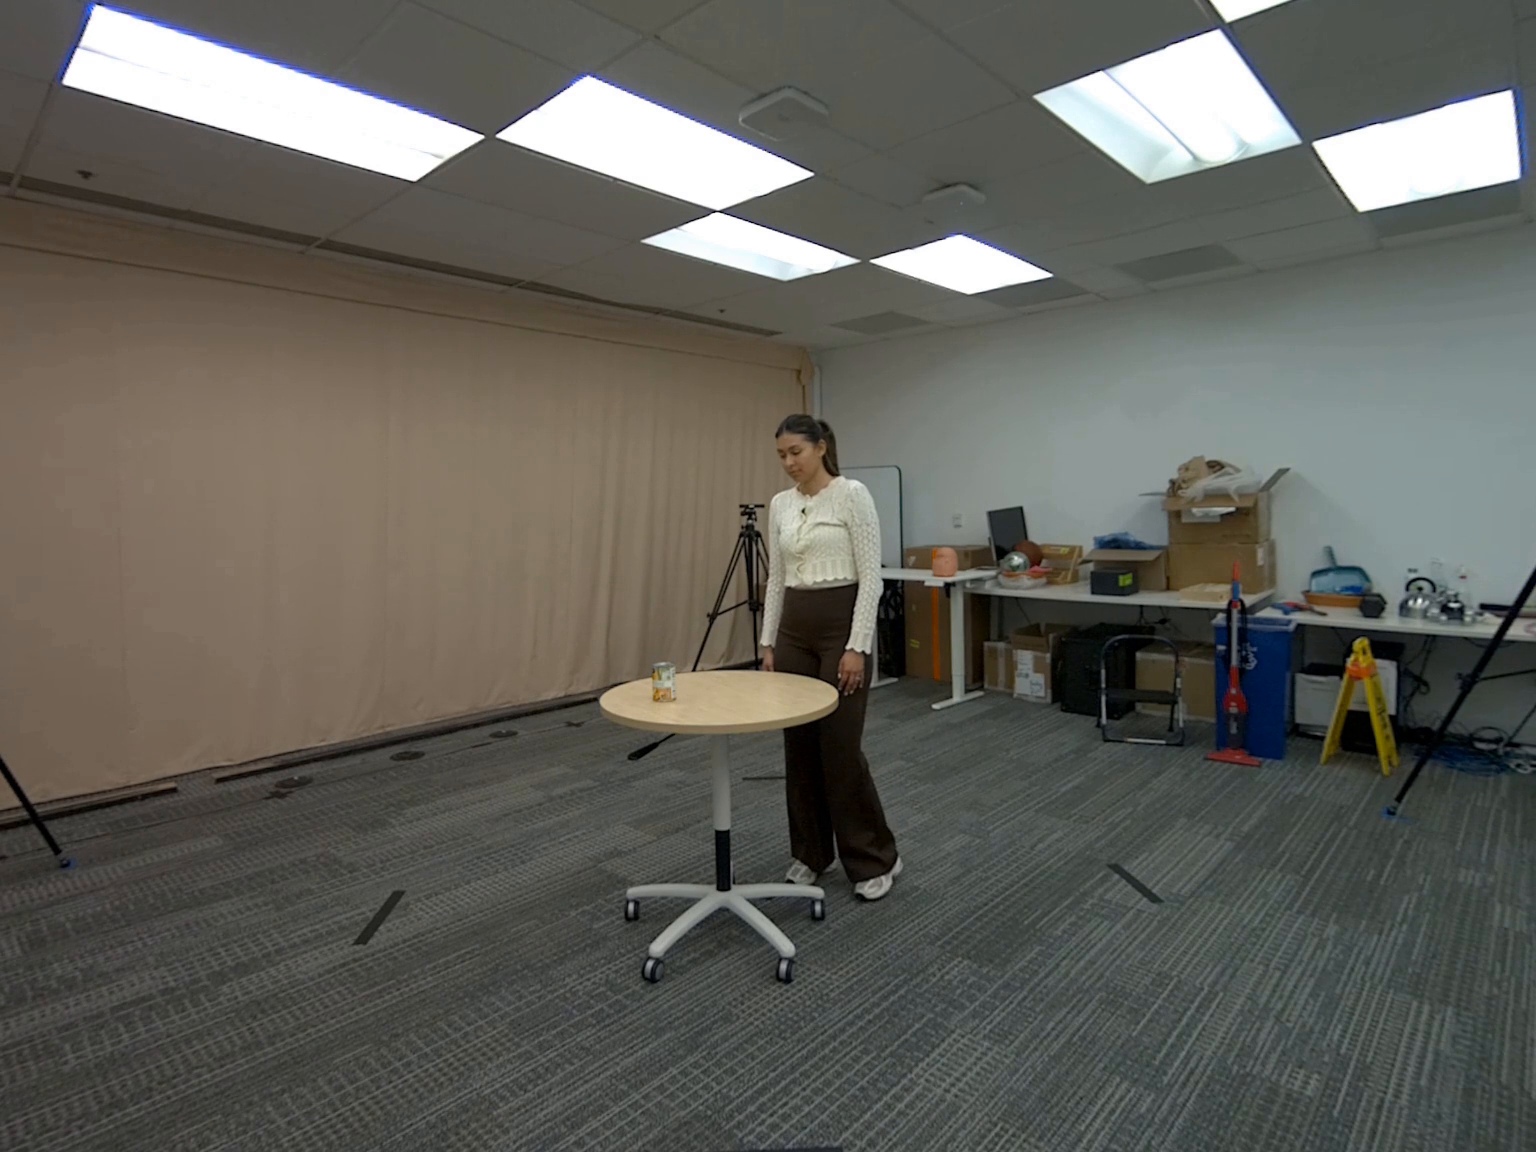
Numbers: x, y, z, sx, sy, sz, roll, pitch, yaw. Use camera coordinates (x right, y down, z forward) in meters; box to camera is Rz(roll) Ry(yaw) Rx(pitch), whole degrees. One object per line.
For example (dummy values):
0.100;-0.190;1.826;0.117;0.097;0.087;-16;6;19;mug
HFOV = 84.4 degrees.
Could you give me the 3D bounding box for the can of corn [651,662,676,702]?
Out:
-0.325;0.339;2.650;0.074;0.111;0.074;-2;4;-2;can of corn
